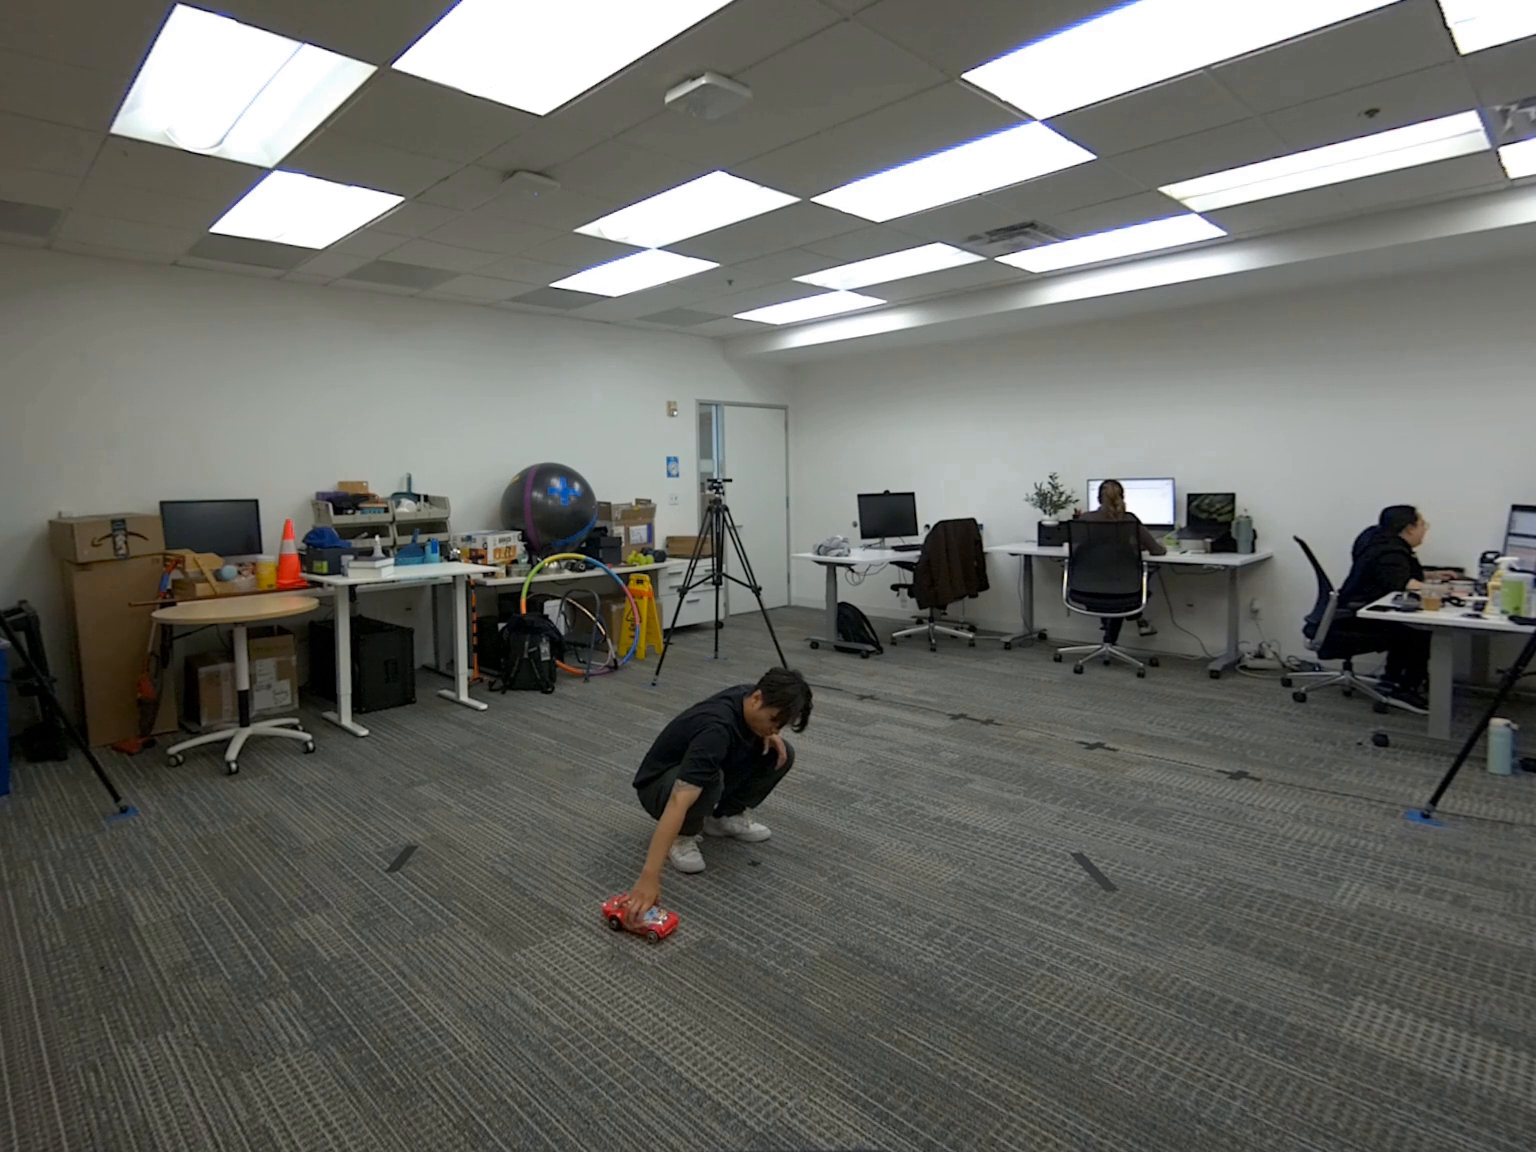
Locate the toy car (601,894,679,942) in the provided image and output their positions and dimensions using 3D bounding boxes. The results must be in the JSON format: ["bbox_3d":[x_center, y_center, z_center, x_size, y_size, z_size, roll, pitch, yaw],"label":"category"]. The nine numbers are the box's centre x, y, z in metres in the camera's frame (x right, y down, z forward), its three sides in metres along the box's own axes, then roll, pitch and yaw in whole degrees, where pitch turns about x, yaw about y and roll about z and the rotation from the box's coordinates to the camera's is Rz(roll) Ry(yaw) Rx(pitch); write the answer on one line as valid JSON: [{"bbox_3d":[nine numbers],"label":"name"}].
[{"bbox_3d":[-0.414,1.075,2.684,0.262,0.082,0.127,15,14,29],"label":"toy car"}]
